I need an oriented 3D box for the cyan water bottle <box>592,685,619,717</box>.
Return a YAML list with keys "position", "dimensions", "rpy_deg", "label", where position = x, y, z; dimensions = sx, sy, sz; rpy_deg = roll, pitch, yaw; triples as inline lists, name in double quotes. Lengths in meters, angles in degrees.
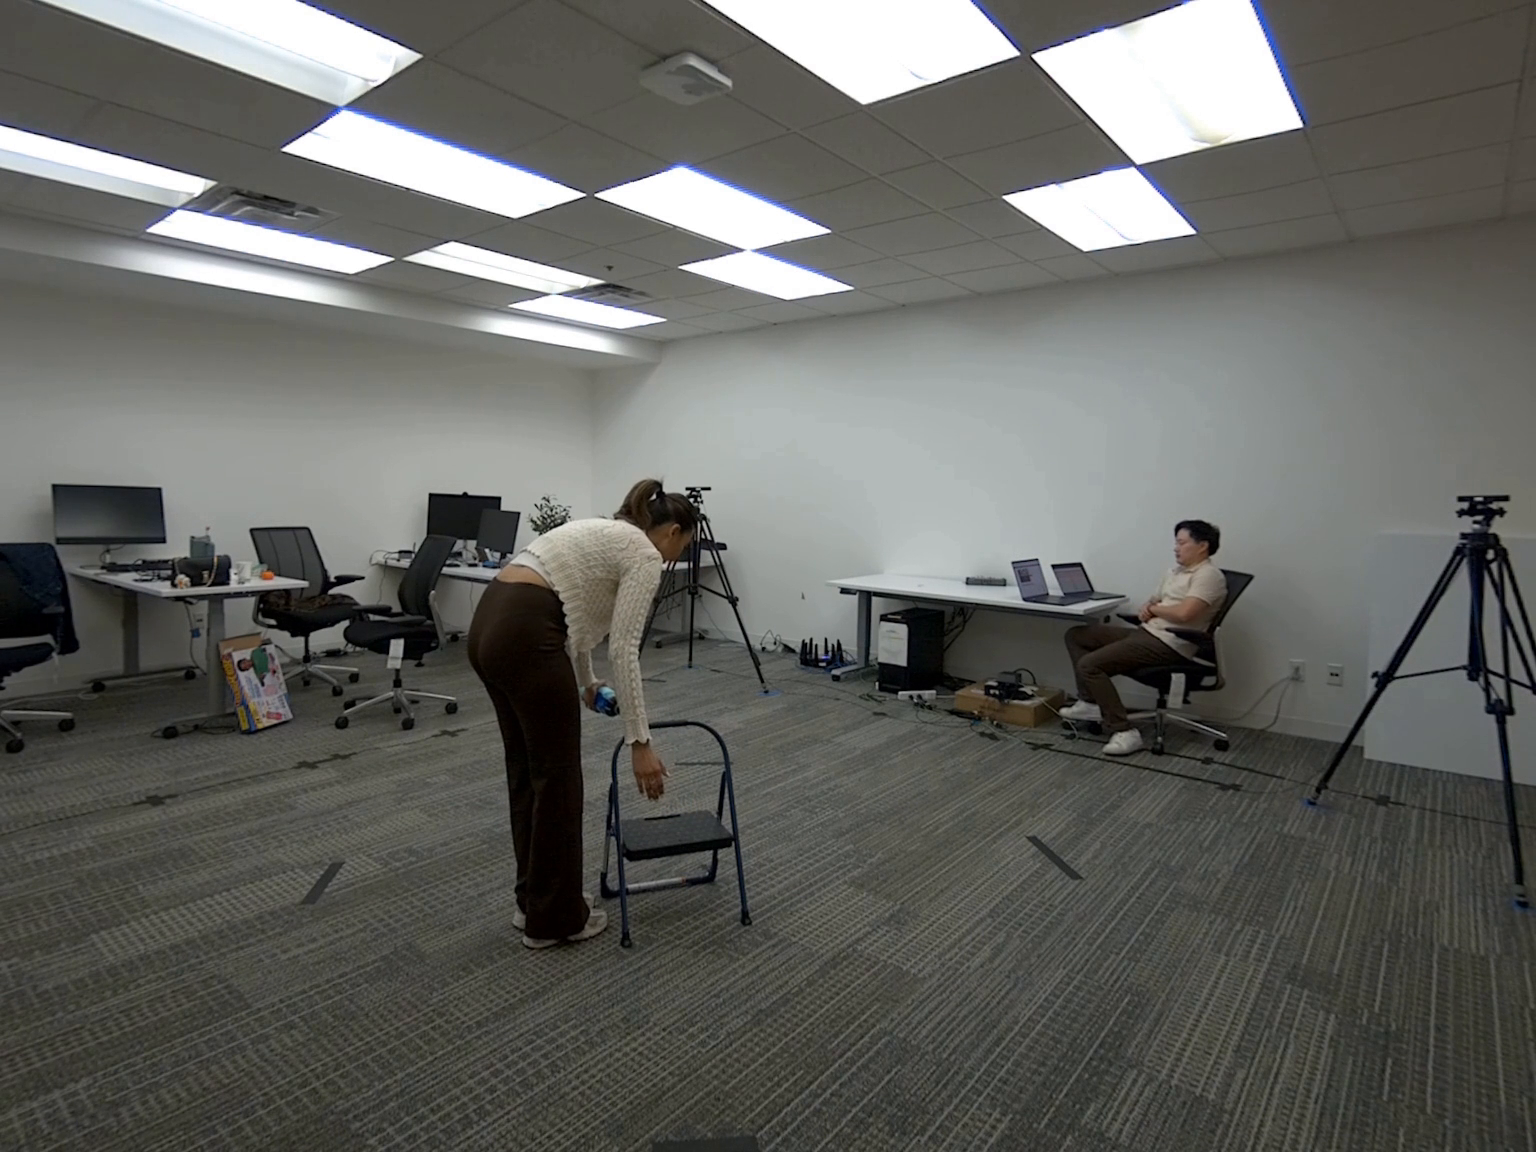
- position: [-0.632, 0.458, 3.179]
  dimensions: [0.090, 0.092, 0.293]
  rpy_deg: [-2, 9, -31]
  label: "cyan water bottle"
